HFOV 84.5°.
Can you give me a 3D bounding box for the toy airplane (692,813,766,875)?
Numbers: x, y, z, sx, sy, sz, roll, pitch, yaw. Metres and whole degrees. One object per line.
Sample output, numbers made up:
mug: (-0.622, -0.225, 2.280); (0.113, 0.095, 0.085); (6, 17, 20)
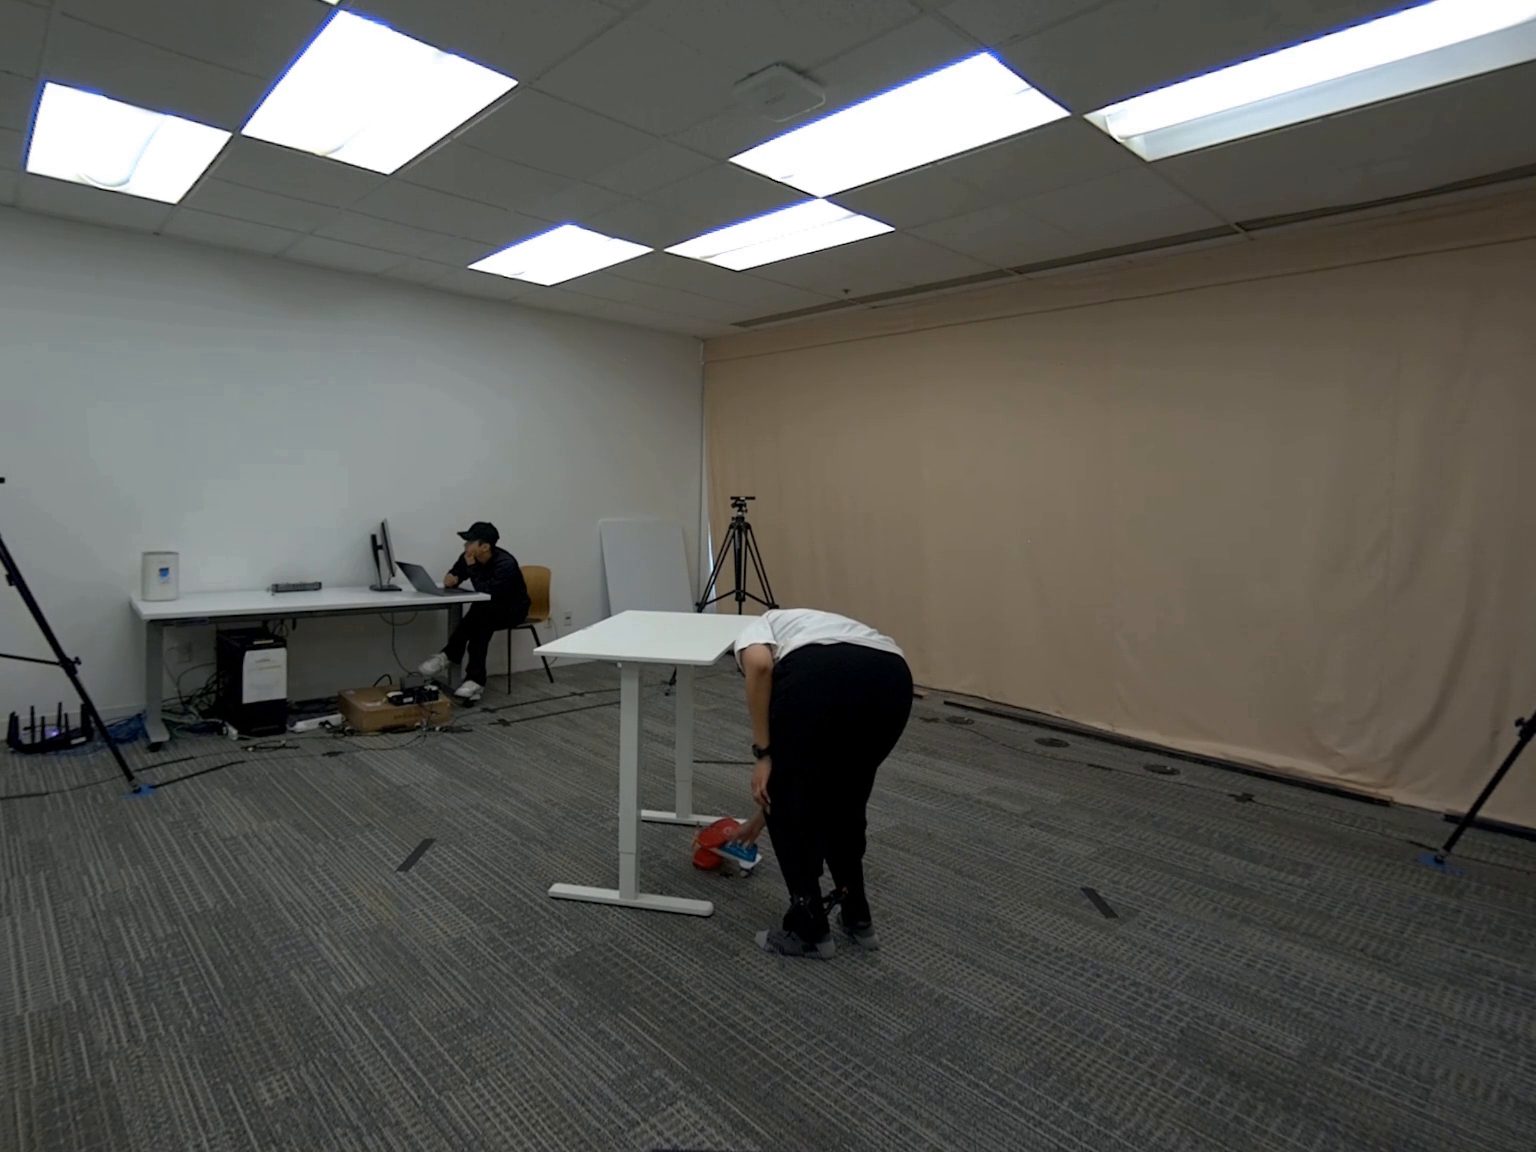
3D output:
toy airplane: (-0.159, 1.027, 3.164); (0.259, 0.156, 0.252); (0, 5, -2)
